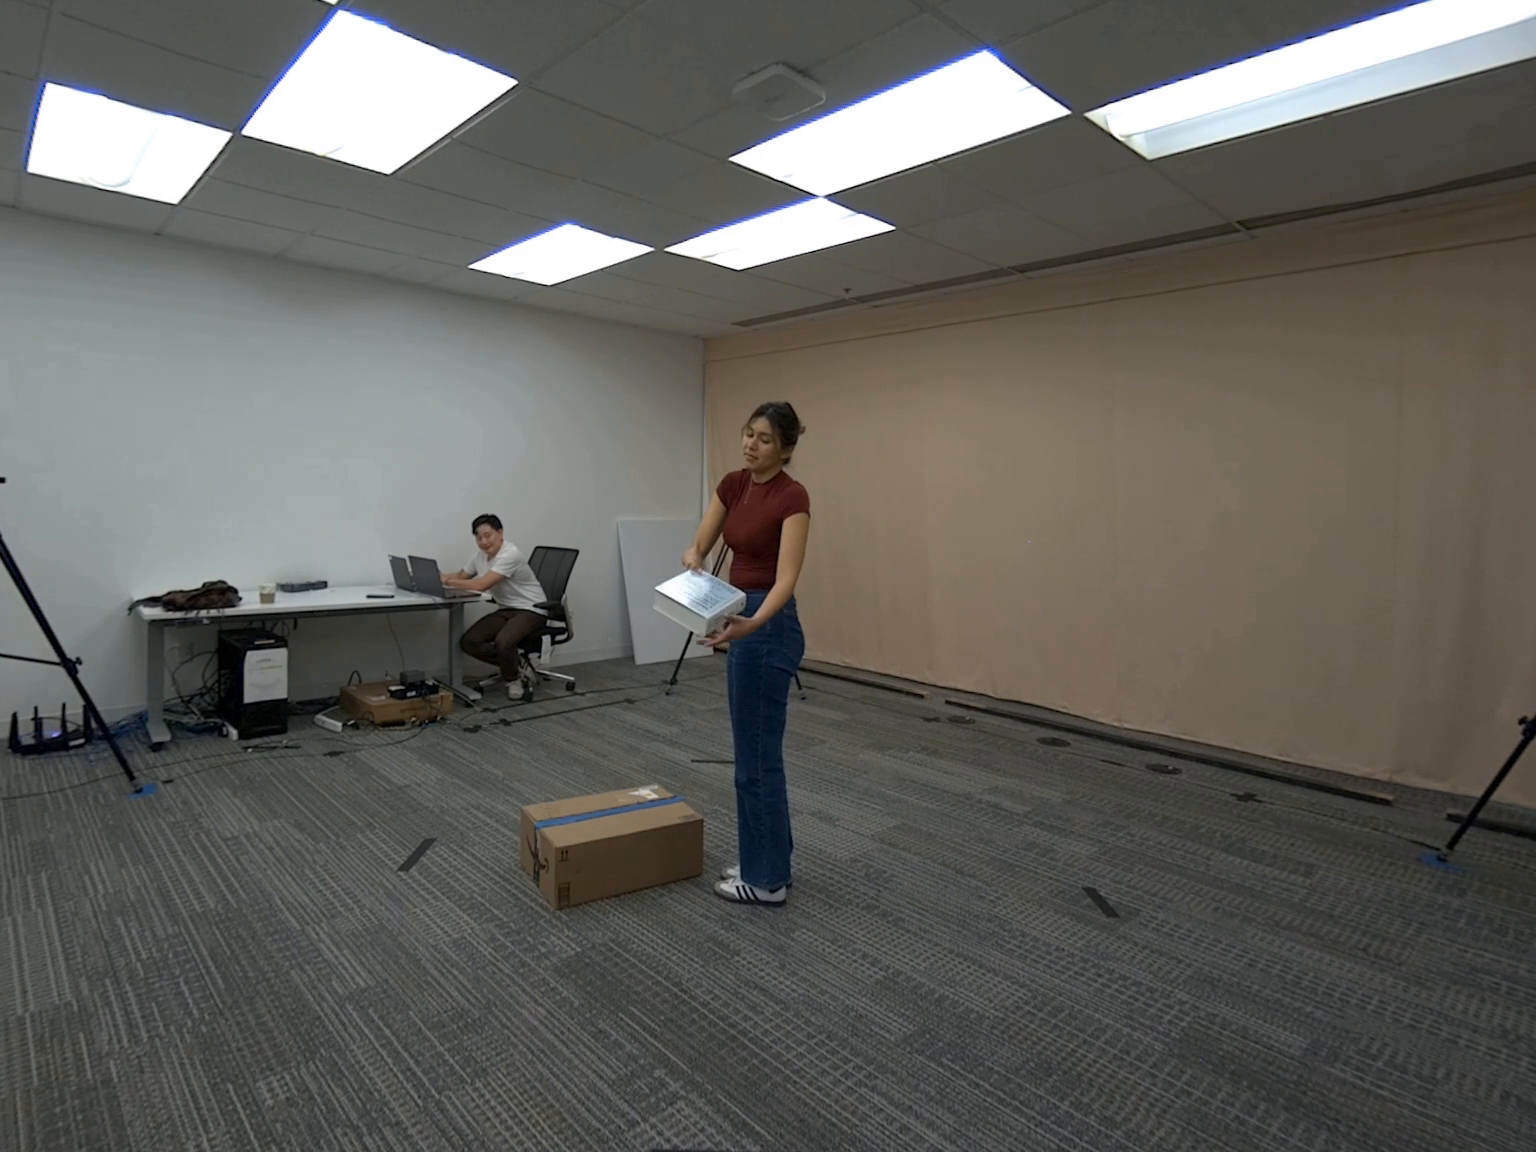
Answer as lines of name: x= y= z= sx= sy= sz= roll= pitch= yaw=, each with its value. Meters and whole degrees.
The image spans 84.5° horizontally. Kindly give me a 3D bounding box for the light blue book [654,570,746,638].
light blue book: x=-0.208 y=0.070 z=2.517 sx=0.194 sy=0.058 sz=0.259 roll=27 pitch=23 yaw=15
